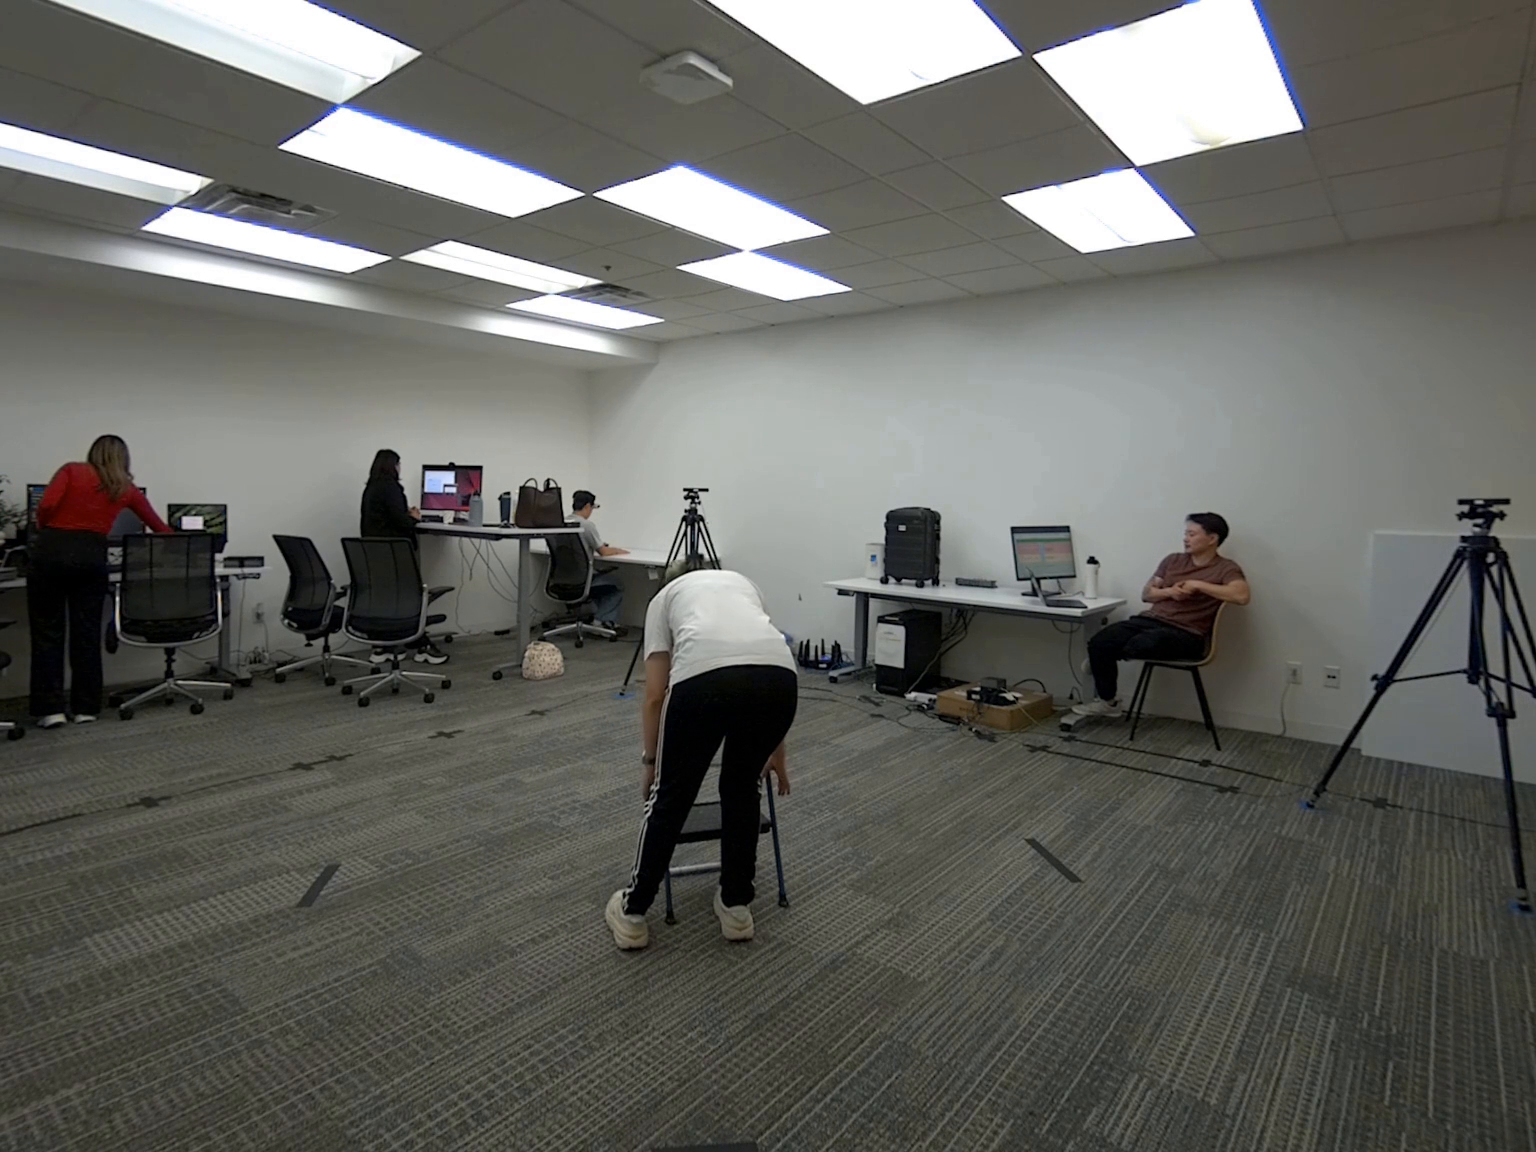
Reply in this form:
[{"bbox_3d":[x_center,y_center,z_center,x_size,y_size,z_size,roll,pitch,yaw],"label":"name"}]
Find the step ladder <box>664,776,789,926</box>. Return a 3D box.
[{"bbox_3d":[-0.188,0.789,2.925,0.422,0.604,0.357,0,3,-20],"label":"step ladder"}]
